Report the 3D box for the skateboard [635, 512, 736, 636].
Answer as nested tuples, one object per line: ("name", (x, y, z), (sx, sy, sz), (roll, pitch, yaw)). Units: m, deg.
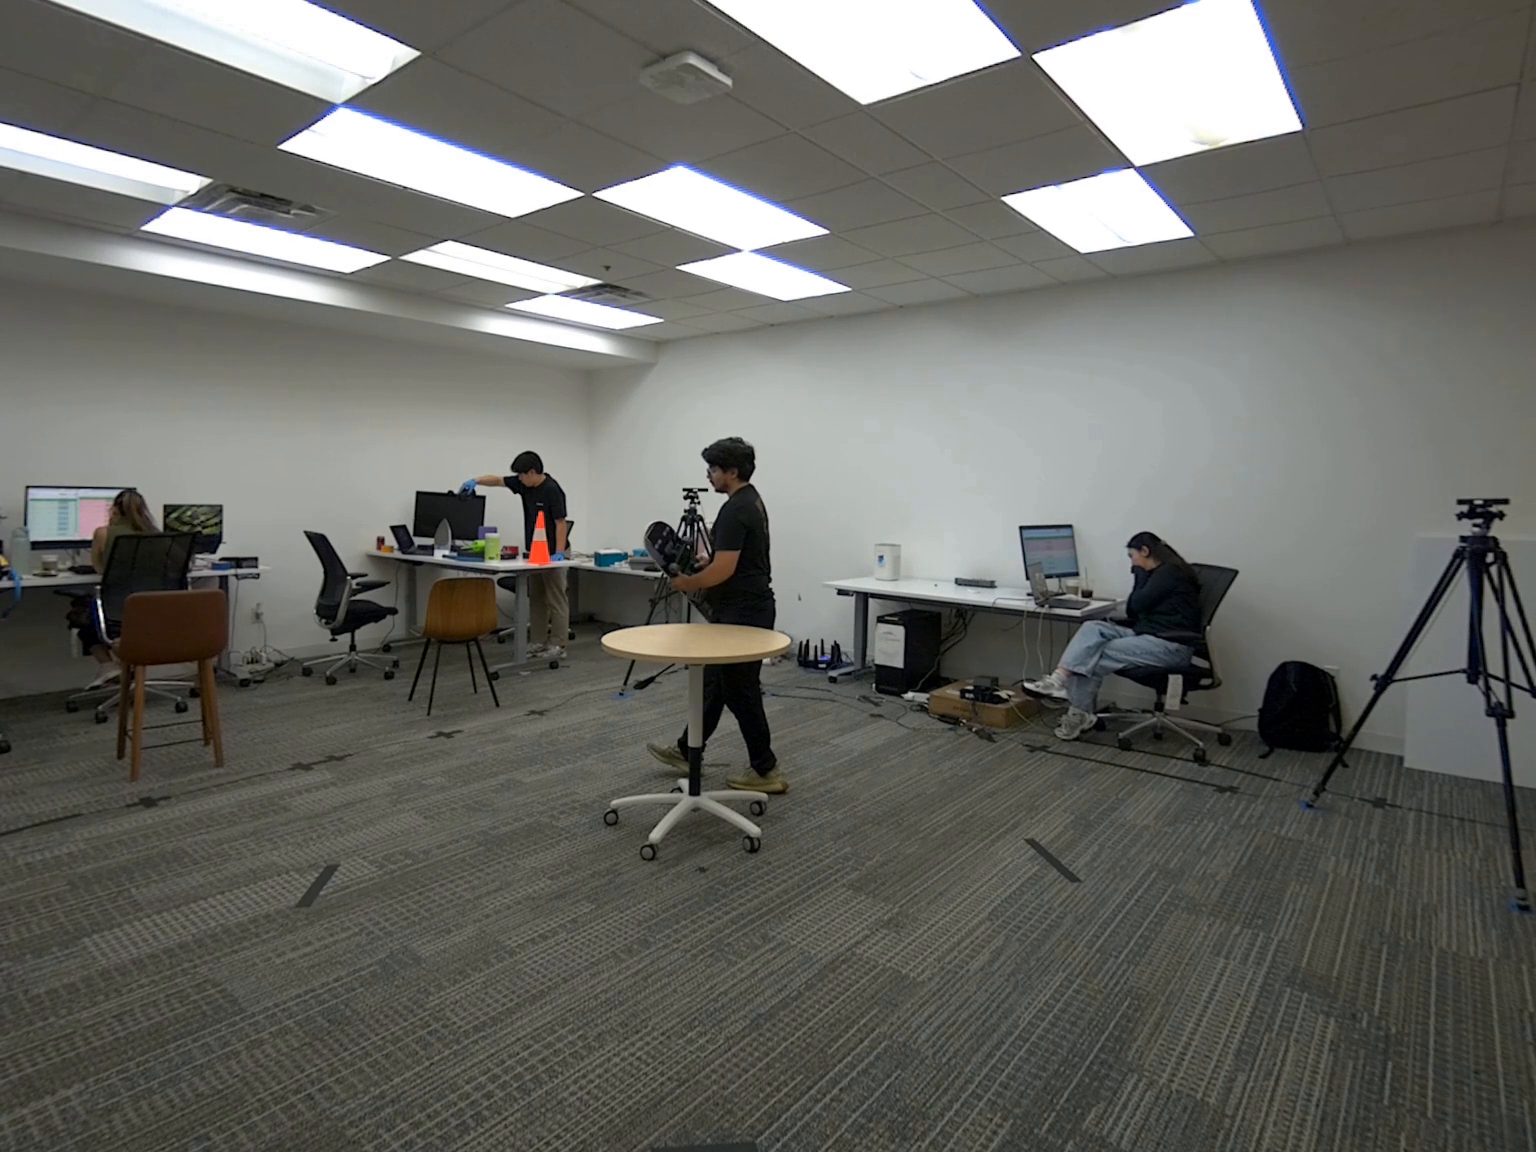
("skateboard", (-0.361, 0.003, 4.086), (0.114, 0.195, 0.753), (4, -32, 34))
